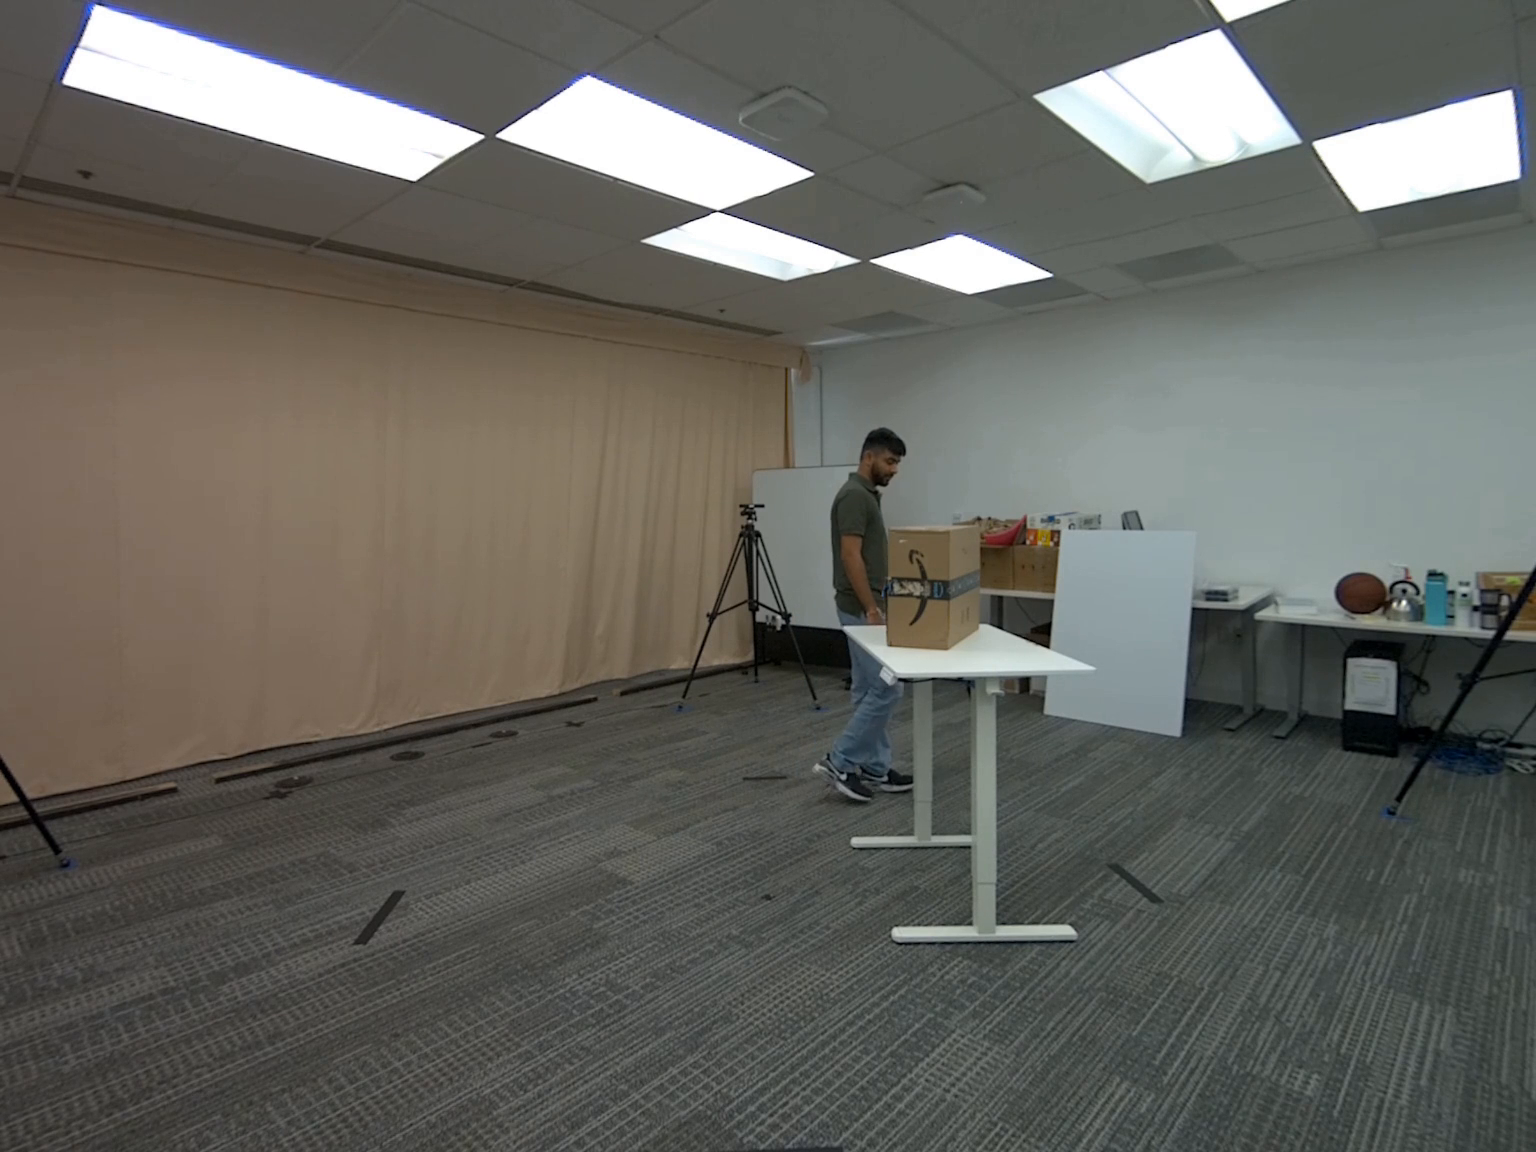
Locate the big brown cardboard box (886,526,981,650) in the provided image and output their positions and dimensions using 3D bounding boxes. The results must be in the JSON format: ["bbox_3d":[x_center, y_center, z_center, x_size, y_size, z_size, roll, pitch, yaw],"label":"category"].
[{"bbox_3d":[0.630,0.028,3.157,0.239,0.416,0.575,2,4,26],"label":"big brown cardboard box"}]
